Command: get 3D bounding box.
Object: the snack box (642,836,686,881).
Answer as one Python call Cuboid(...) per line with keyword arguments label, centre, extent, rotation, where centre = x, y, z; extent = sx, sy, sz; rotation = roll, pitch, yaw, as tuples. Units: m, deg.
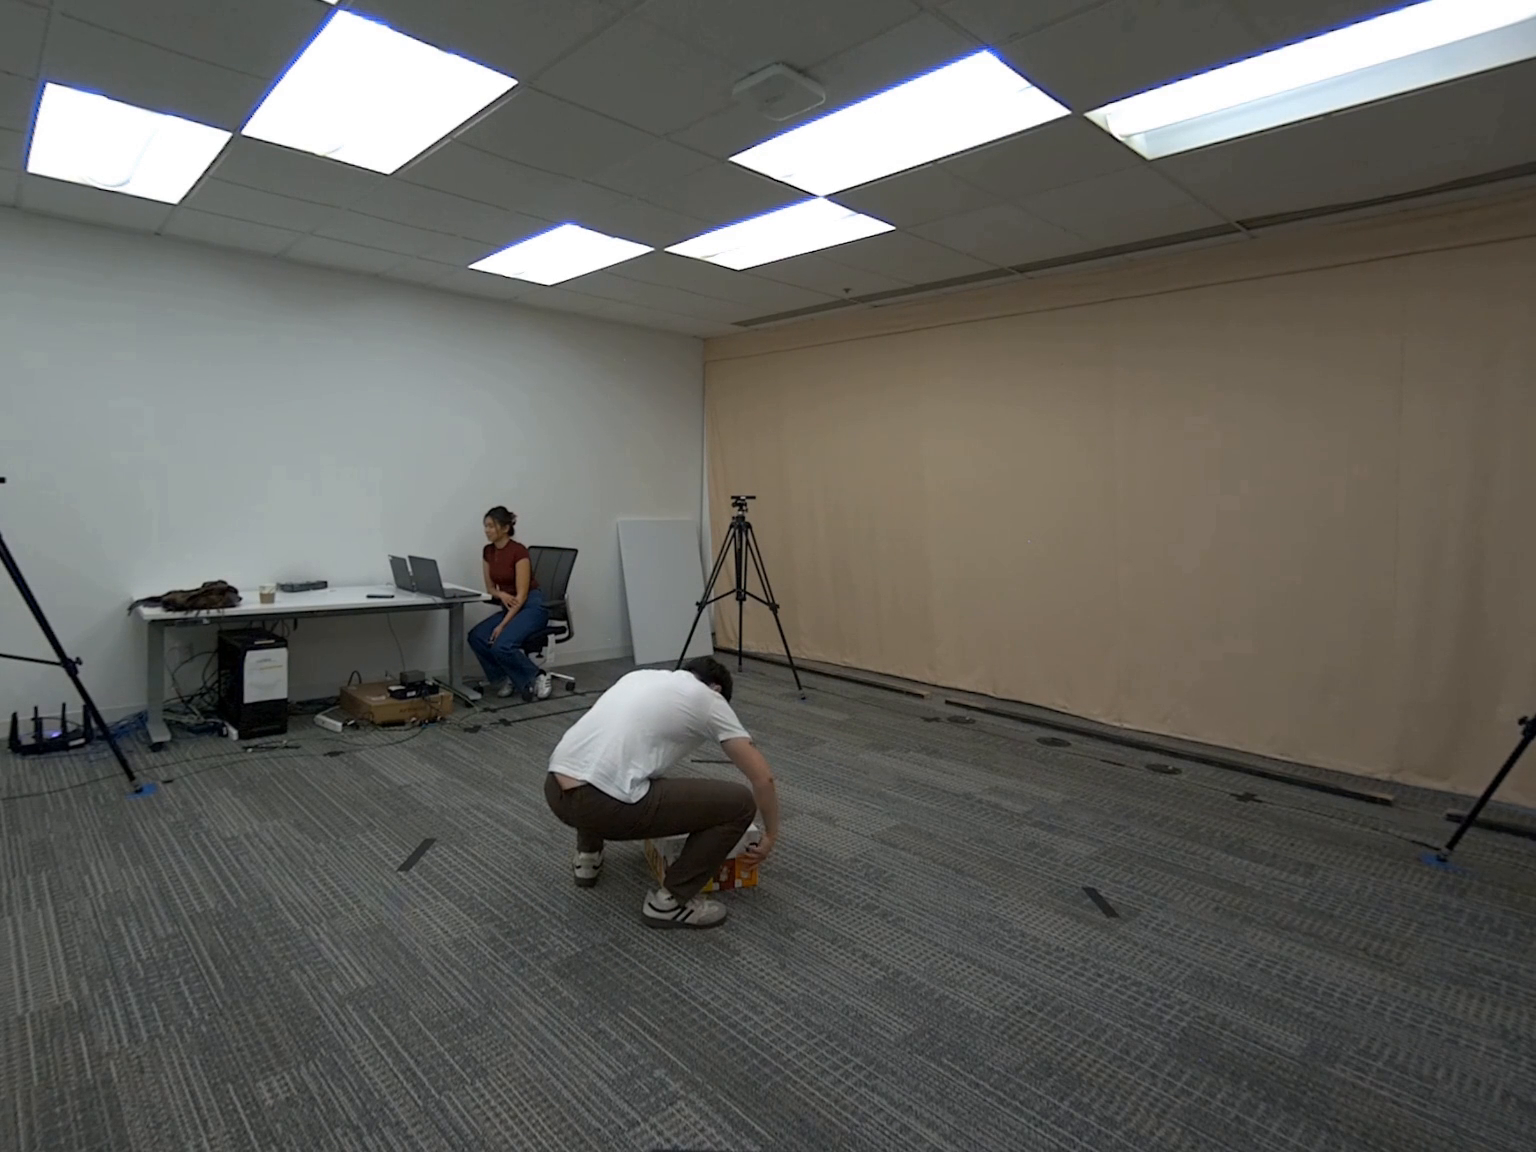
Cuboid(label="snack box", centre=(-0.273, 0.993, 3.153), extent=(0.335, 0.205, 0.412), rotation=(-1, 6, -20))
